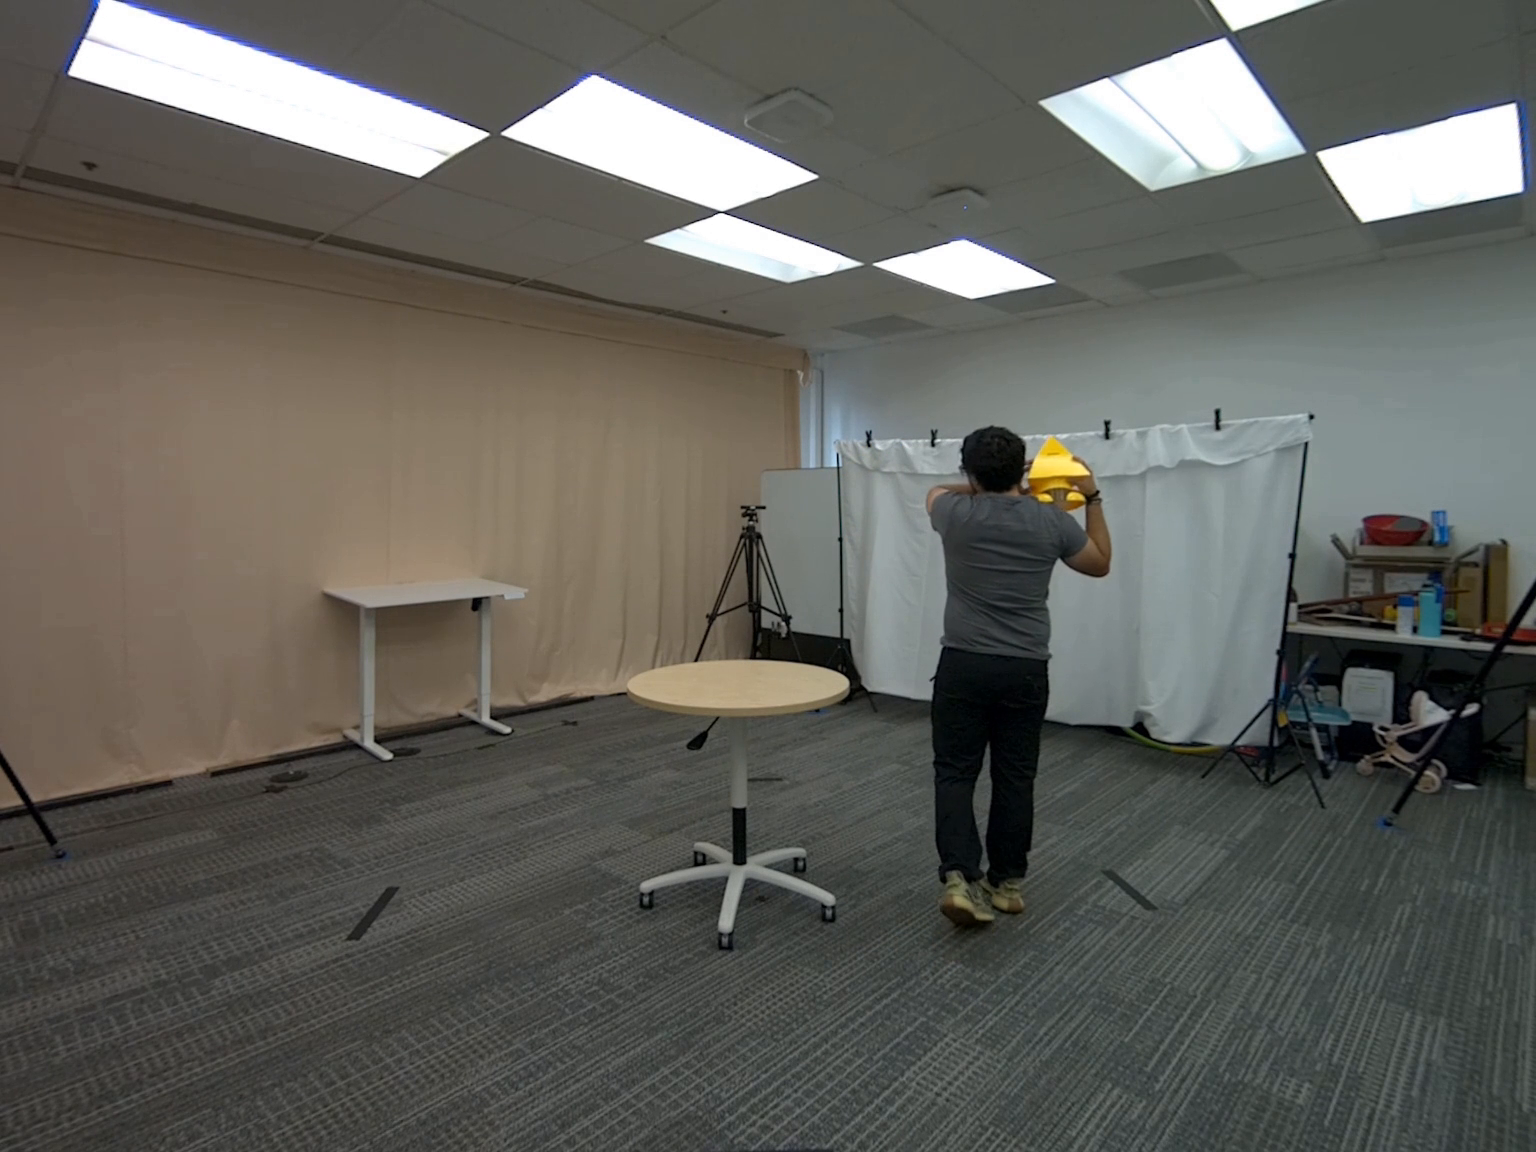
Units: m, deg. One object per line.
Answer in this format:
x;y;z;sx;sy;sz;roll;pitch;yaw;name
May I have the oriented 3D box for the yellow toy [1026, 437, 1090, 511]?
0.976;-0.352;2.890;0.206;0.232;0.191;-3;-12;3;yellow toy
